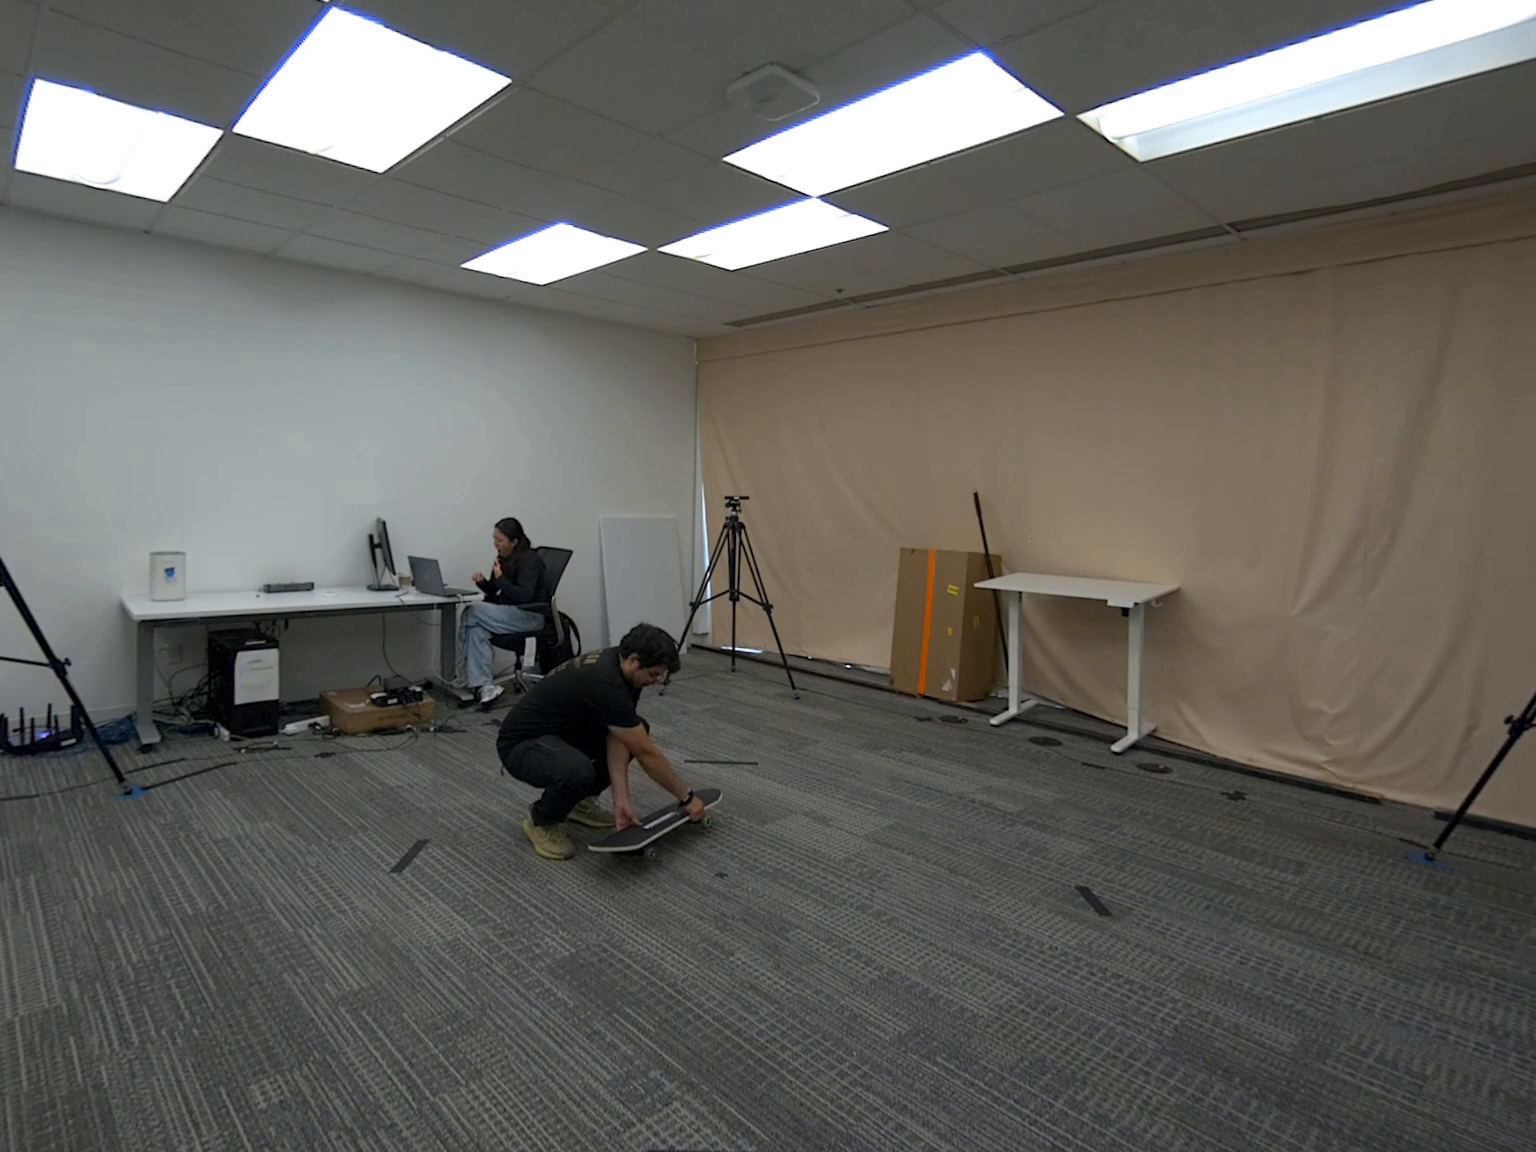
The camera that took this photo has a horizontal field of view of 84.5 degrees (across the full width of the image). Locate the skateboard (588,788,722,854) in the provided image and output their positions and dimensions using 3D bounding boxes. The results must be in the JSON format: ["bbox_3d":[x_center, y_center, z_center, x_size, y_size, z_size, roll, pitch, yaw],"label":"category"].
[{"bbox_3d":[-0.433,0.999,3.317,0.197,0.110,0.771,-7,-1,27],"label":"skateboard"}]
